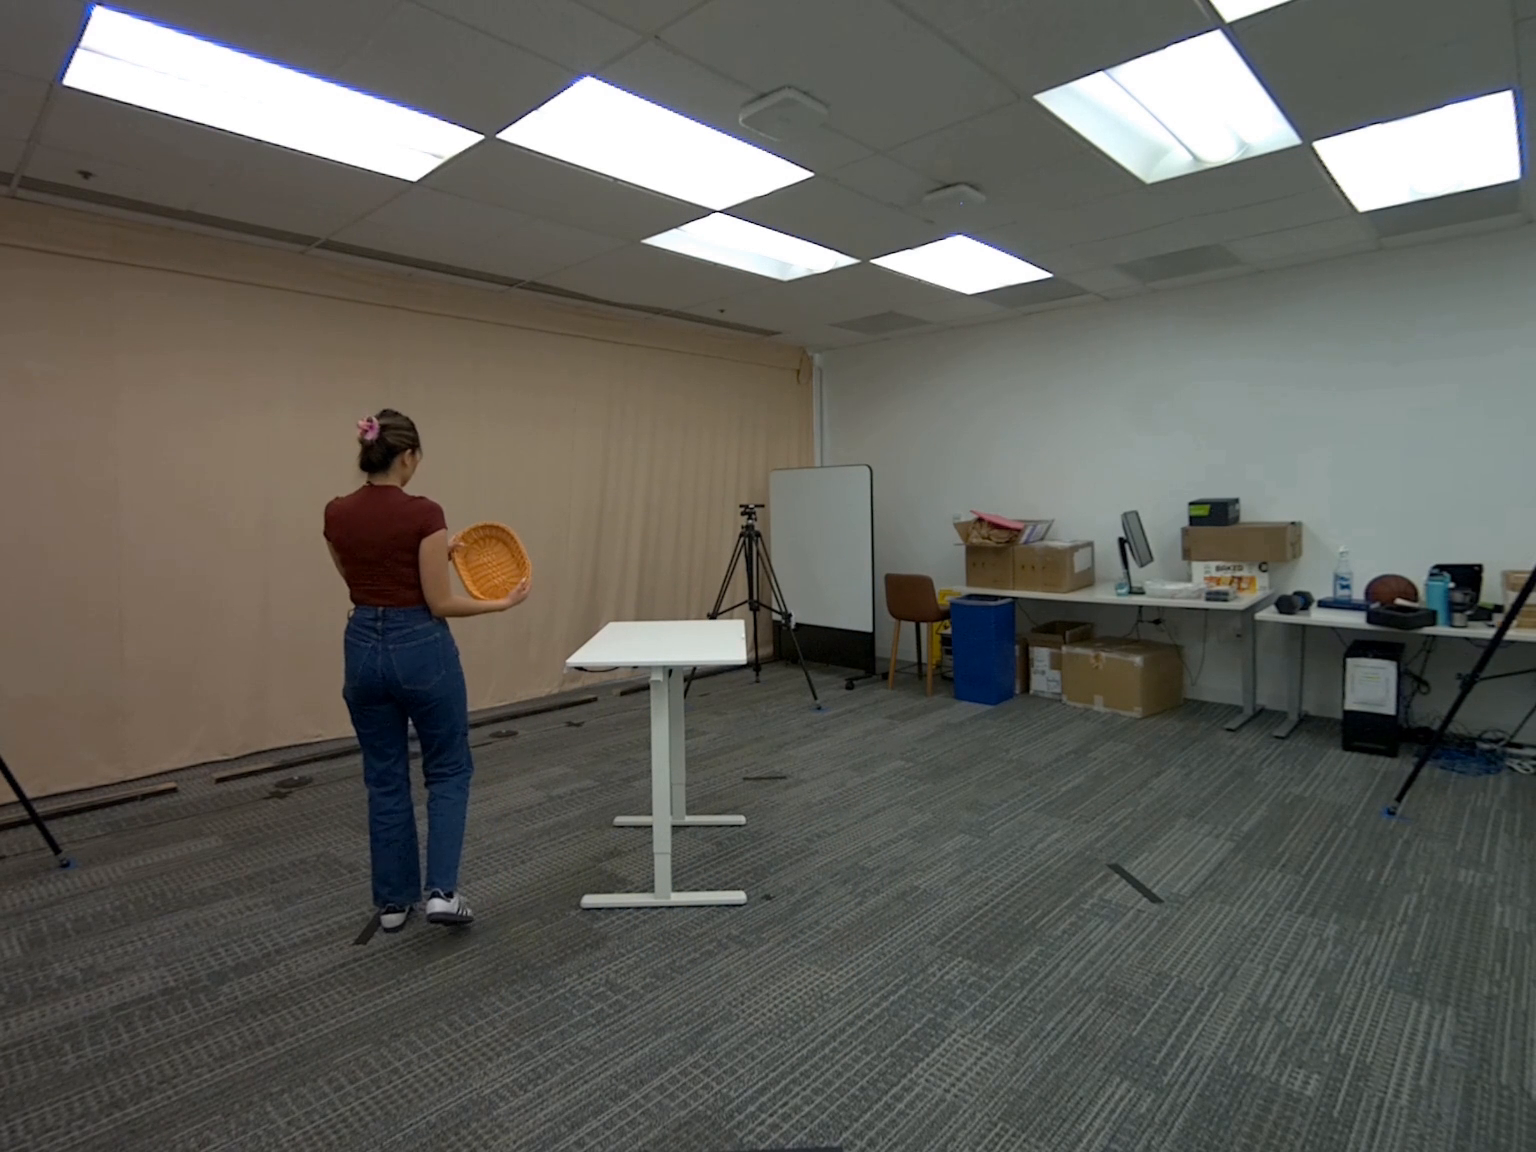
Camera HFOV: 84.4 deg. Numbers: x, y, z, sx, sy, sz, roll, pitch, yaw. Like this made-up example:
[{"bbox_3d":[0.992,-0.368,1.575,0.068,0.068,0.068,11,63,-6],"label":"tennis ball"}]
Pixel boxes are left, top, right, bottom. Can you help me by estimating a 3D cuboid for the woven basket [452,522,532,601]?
[{"bbox_3d":[-0.998,-0.032,3.053,0.249,0.359,0.072,-22,-26,-15],"label":"woven basket"}]
